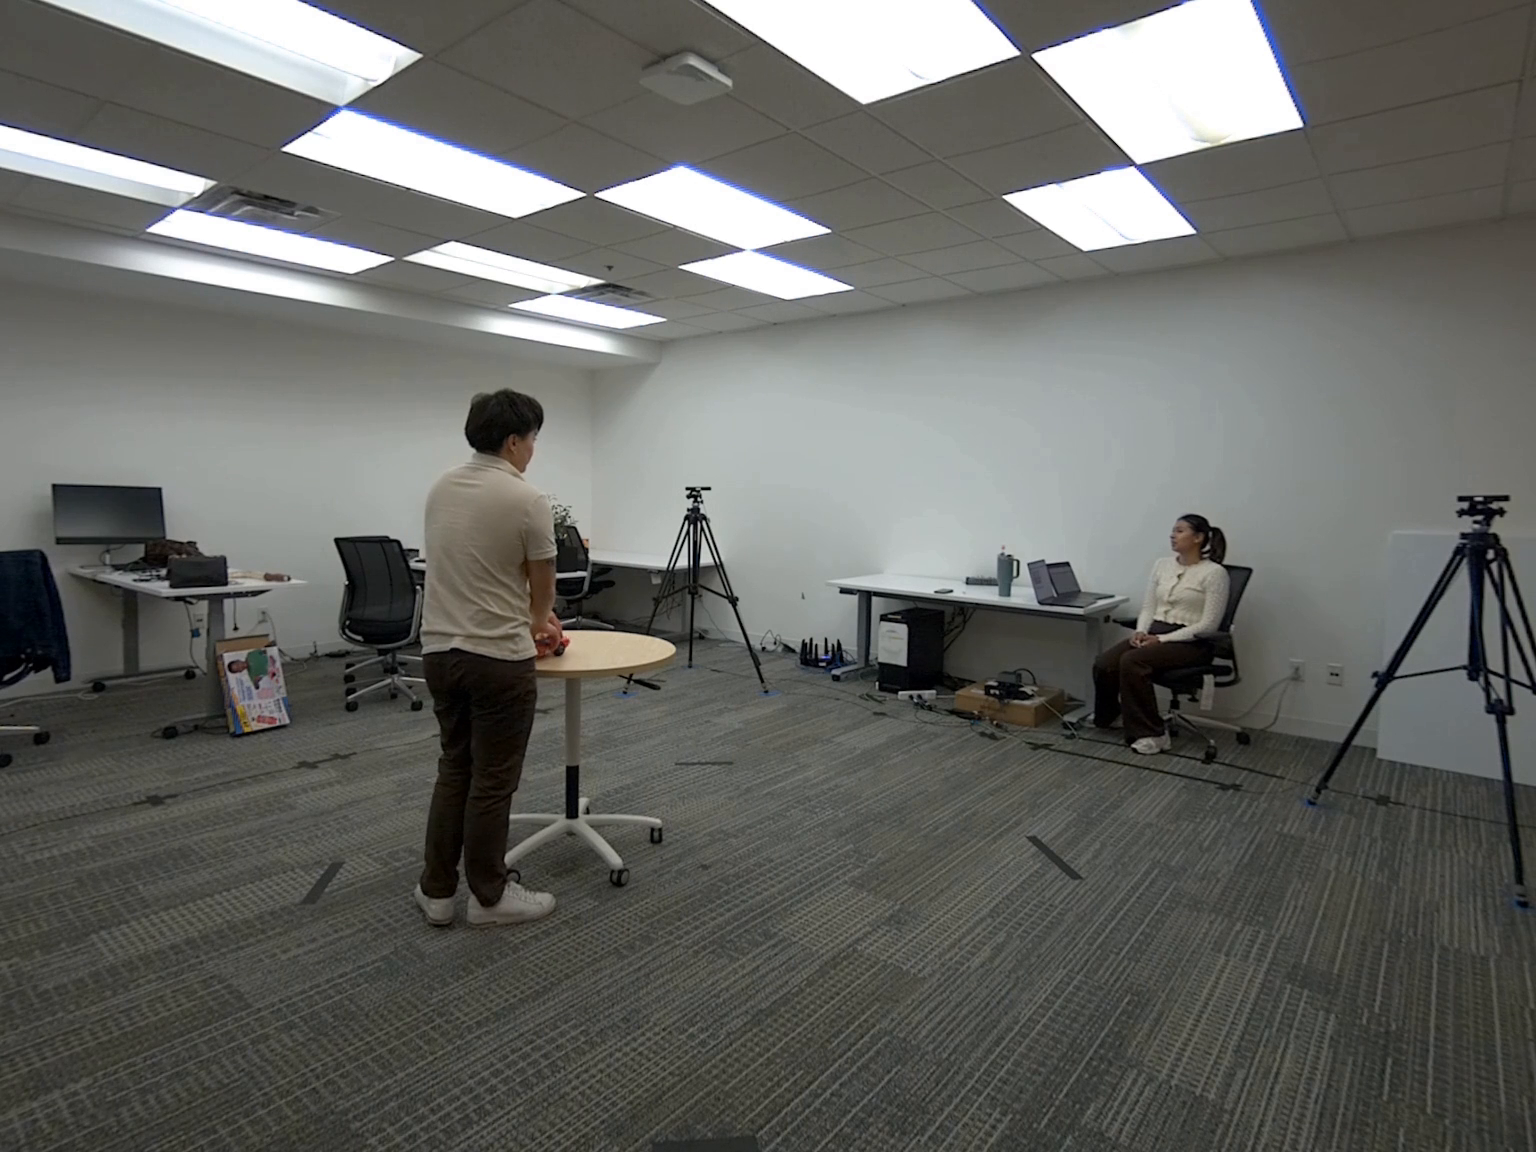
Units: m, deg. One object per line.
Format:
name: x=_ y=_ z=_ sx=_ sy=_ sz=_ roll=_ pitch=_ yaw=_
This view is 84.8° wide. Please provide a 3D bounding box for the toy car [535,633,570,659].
toy car: x=-0.826 y=0.256 z=3.016 sx=0.134 sy=0.082 sz=0.250 roll=3 pitch=18 yaw=32
